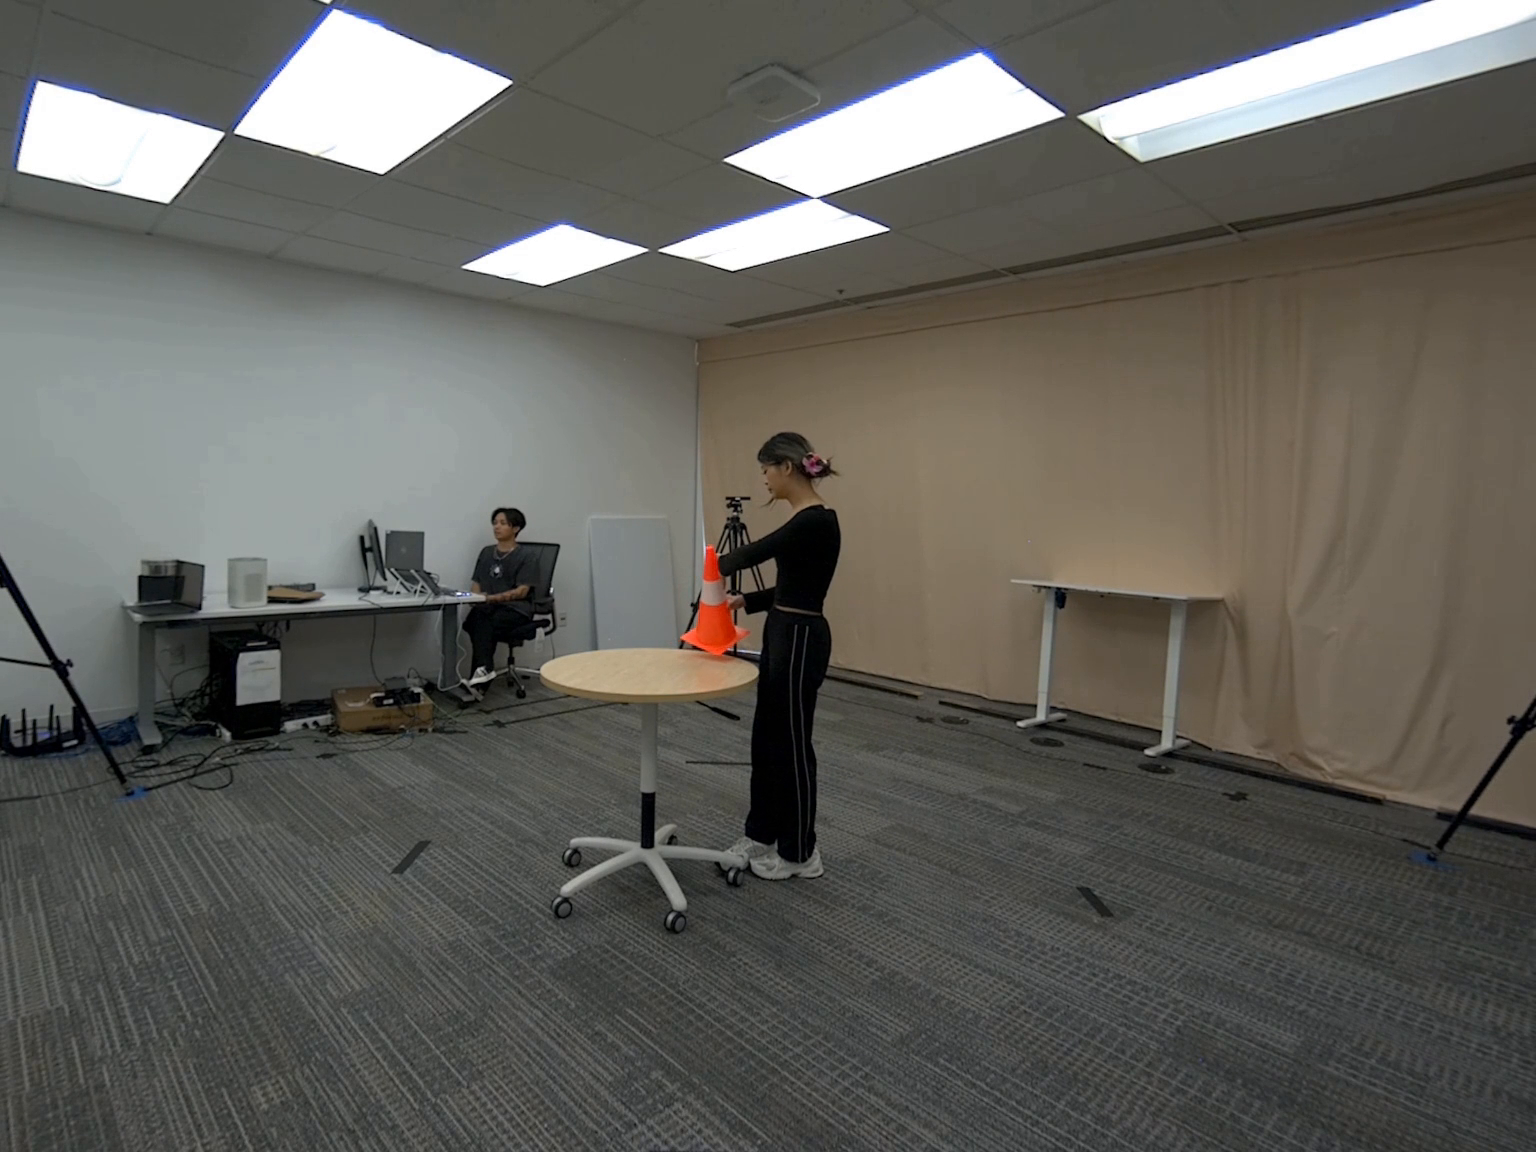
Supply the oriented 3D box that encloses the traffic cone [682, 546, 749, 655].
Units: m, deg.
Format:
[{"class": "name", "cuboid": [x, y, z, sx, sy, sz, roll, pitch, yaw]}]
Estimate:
[{"class": "traffic cone", "cuboid": [-0.206, 0.065, 3.138, 0.211, 0.376, 0.201, 19, 35, 36]}]
